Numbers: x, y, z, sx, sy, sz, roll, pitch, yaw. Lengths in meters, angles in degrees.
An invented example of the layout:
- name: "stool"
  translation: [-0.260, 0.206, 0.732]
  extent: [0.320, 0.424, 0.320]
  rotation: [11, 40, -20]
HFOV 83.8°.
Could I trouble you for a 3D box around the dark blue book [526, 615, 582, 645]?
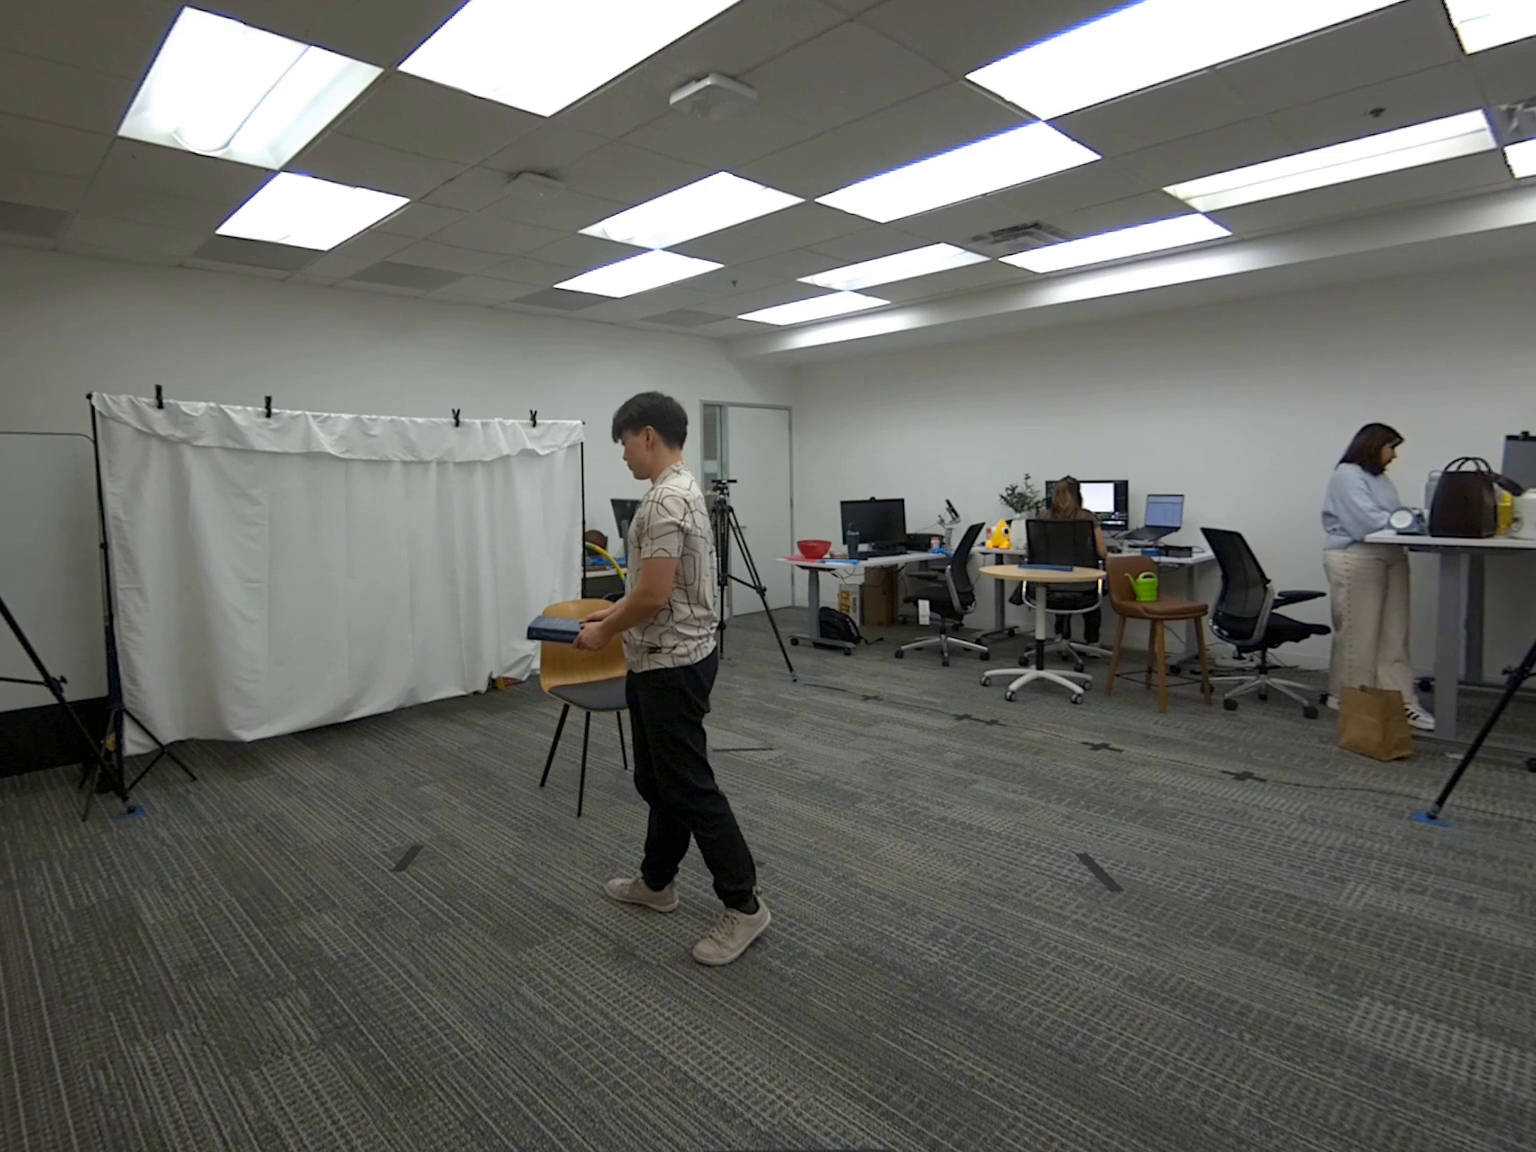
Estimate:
- name: "dark blue book"
  translation: [-0.607, 0.174, 2.697]
  extent: [0.246, 0.045, 0.164]
  rotation: [5, 10, 4]
